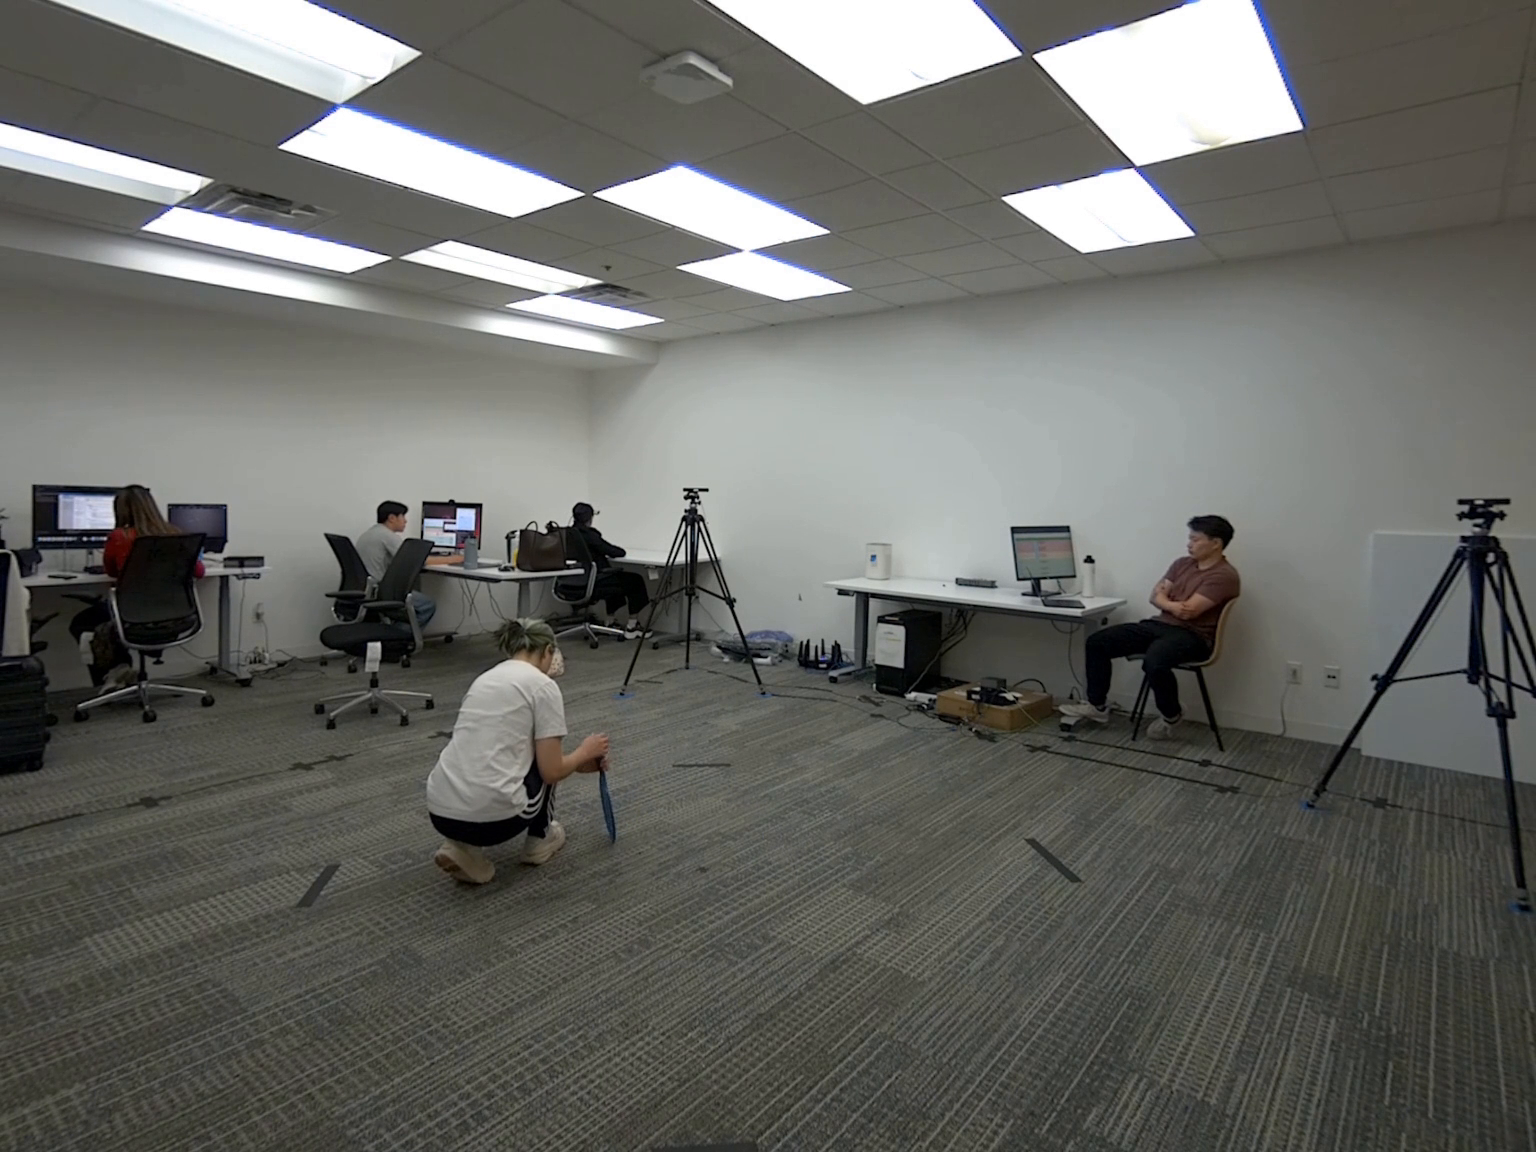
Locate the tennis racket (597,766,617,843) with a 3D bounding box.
[{"bbox_3d":[-0.654,0.845,3.316,0.031,0.425,0.220,-9,19,-14],"label":"tennis racket"}]
